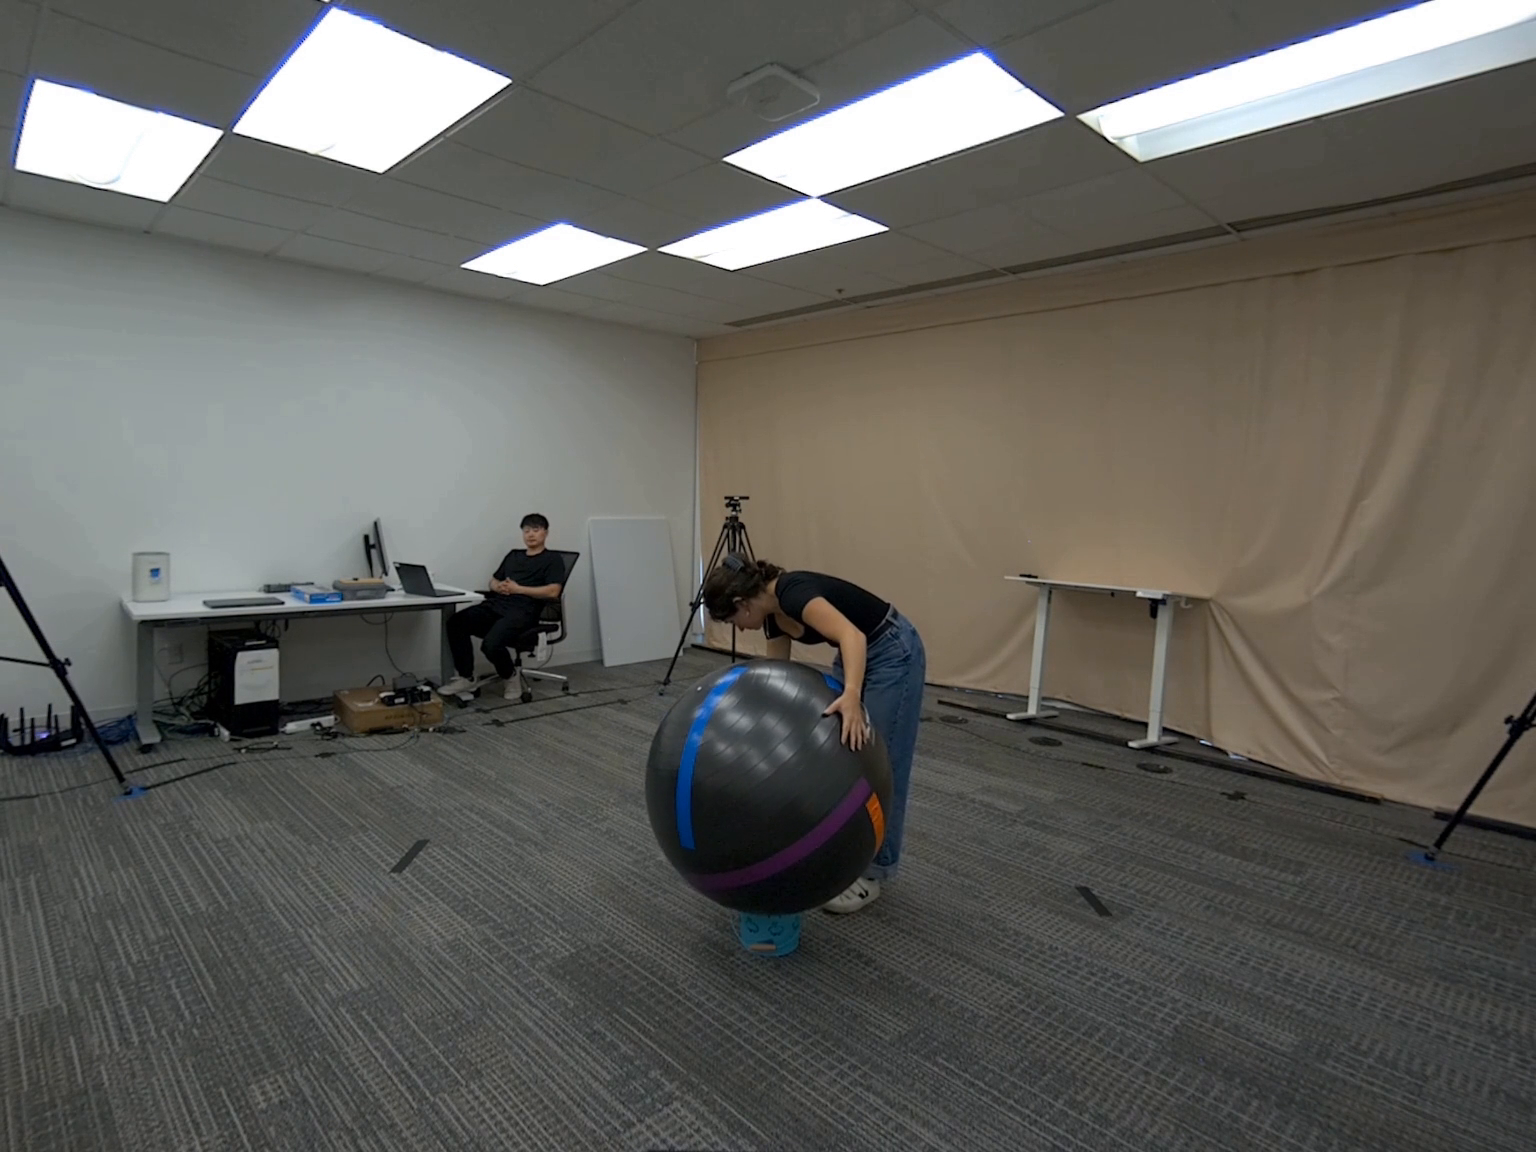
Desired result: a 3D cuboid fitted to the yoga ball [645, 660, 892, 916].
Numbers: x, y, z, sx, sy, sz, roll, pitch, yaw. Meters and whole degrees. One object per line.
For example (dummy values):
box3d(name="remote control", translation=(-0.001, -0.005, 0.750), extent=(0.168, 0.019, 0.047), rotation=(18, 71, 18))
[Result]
box3d(name="yoga ball", translation=(-0.004, 0.647, 2.577), extent=(0.757, 0.756, 0.761), rotation=(1, 4, -1))
